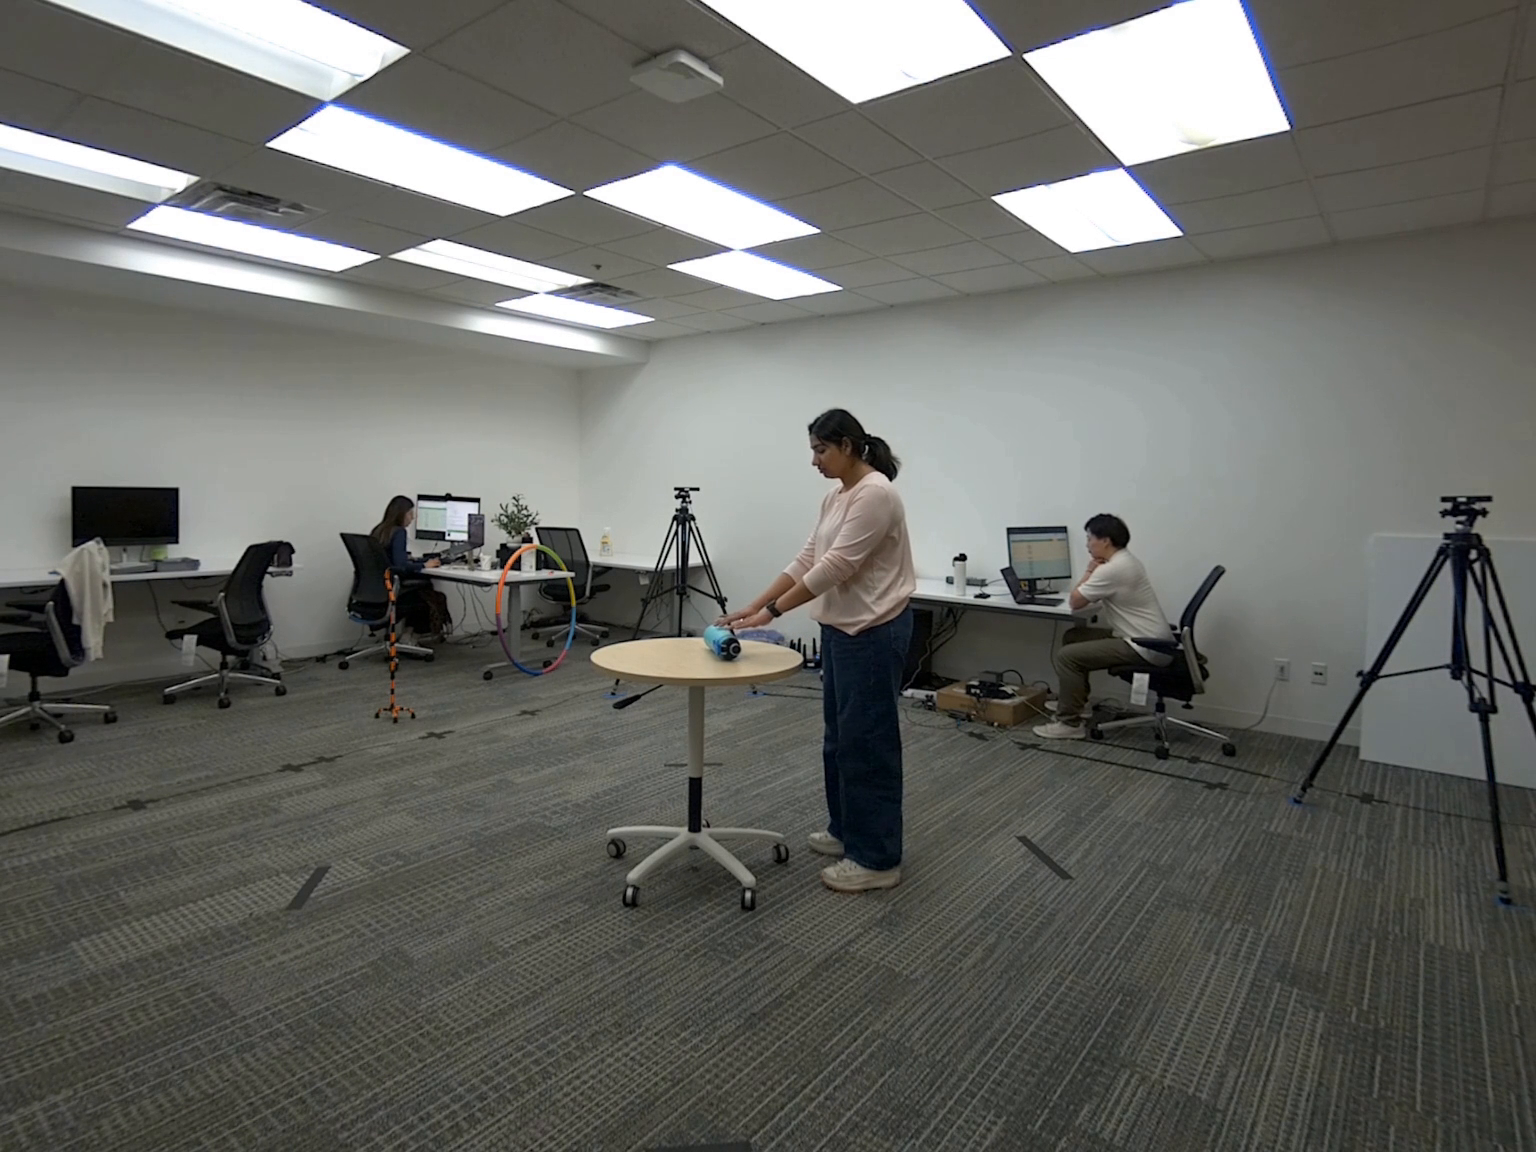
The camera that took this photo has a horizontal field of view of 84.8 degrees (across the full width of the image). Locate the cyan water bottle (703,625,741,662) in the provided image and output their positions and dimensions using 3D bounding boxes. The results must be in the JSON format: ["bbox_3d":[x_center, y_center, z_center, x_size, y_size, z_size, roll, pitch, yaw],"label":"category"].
[{"bbox_3d":[-0.176,0.240,3.092,0.091,0.092,0.288,0,6,-14],"label":"cyan water bottle"}]
